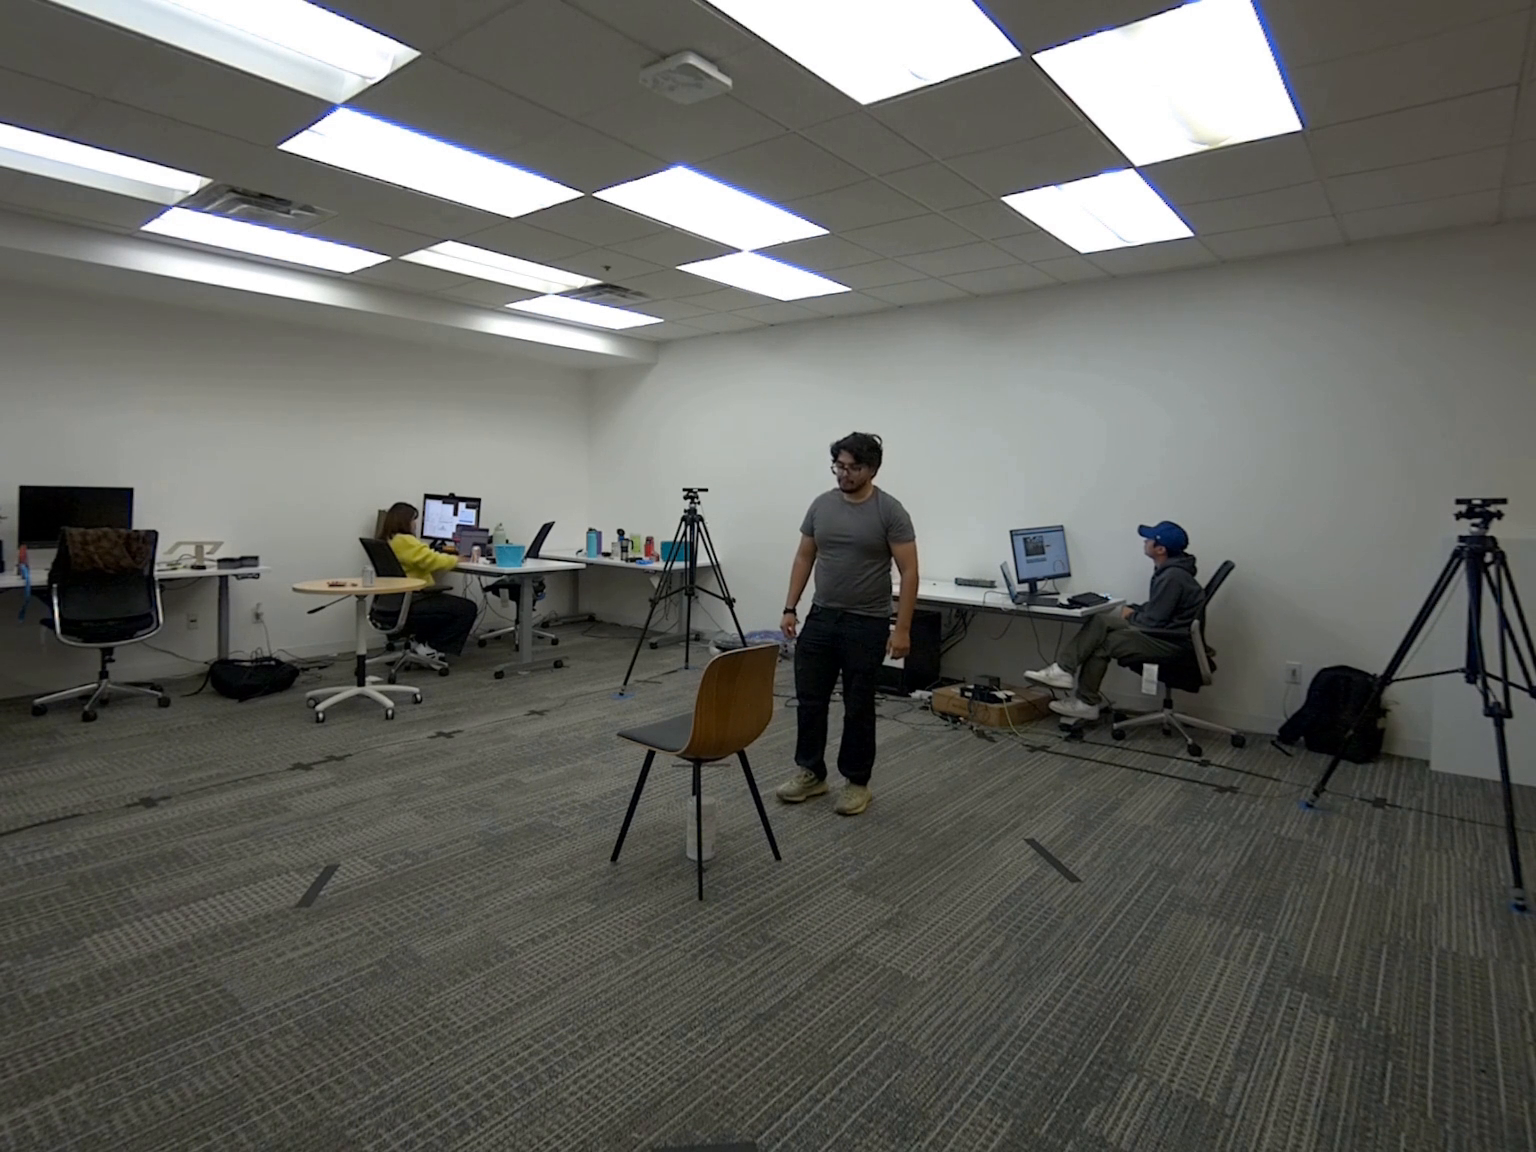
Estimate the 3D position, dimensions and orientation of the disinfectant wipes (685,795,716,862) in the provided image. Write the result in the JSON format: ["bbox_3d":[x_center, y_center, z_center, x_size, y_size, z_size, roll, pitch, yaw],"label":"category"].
[{"bbox_3d":[-0.260,0.960,3.231,0.118,0.217,0.118,1,1,-2],"label":"disinfectant wipes"}]
